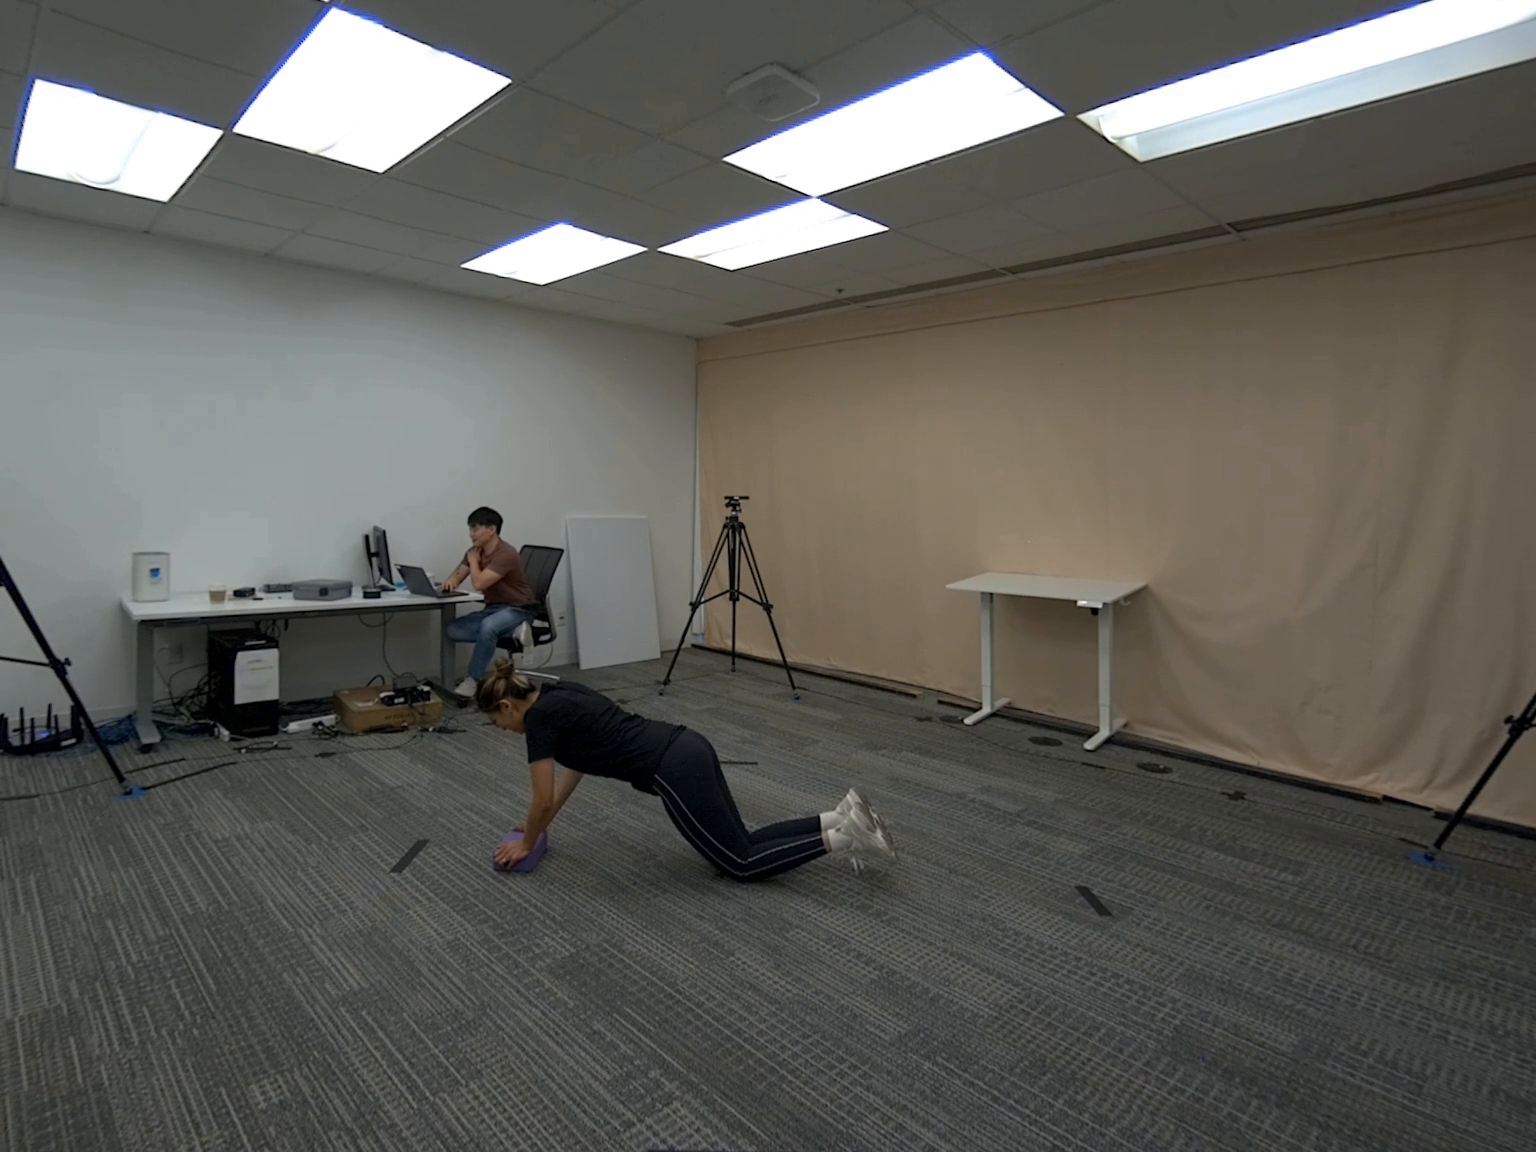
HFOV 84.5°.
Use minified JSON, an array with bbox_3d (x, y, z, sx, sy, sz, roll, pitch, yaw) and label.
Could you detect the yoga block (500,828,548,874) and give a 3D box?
[{"bbox_3d":[-0.937,1.032,3.205,0.149,0.076,0.229,2,4,0],"label":"yoga block"}]
